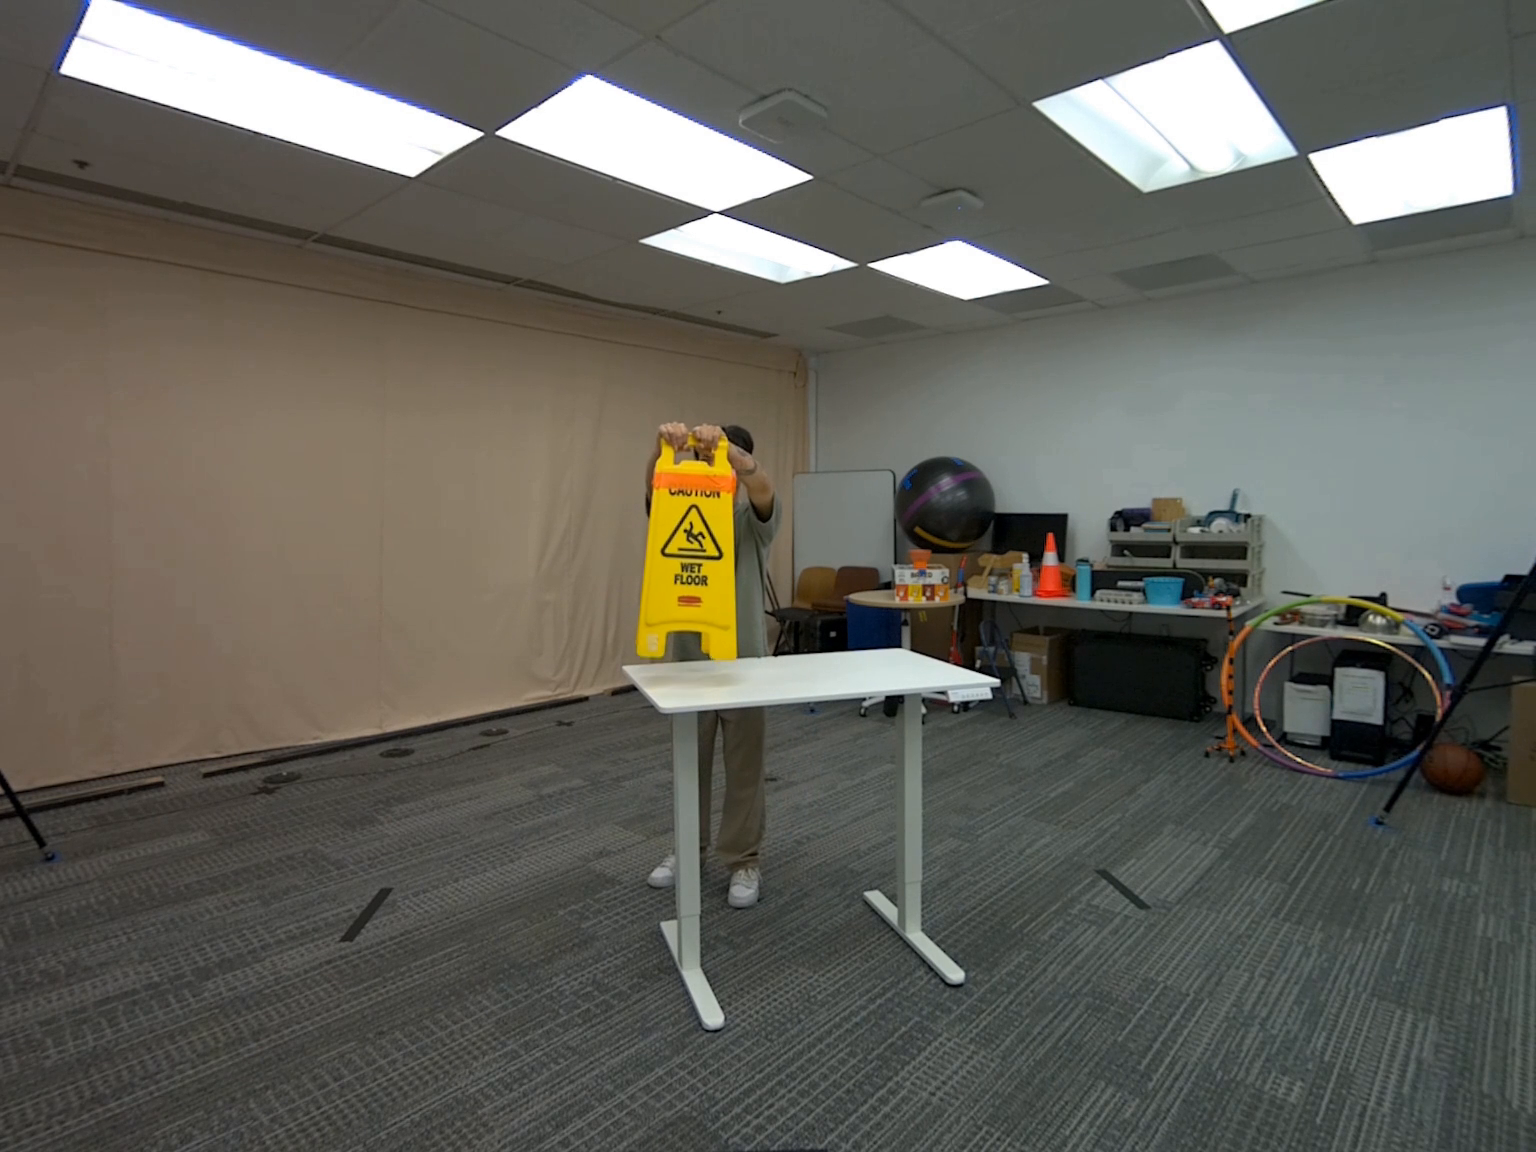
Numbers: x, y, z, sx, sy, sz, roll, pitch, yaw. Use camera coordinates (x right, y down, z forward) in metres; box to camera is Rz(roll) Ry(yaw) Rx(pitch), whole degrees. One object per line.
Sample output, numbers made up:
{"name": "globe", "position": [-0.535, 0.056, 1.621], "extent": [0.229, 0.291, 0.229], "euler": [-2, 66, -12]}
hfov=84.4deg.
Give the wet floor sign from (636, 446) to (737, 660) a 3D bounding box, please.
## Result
{"name": "wet floor sign", "position": [-0.232, -0.092, 2.475], "extent": [0.280, 0.646, 0.292], "euler": [2, -1, -9]}
